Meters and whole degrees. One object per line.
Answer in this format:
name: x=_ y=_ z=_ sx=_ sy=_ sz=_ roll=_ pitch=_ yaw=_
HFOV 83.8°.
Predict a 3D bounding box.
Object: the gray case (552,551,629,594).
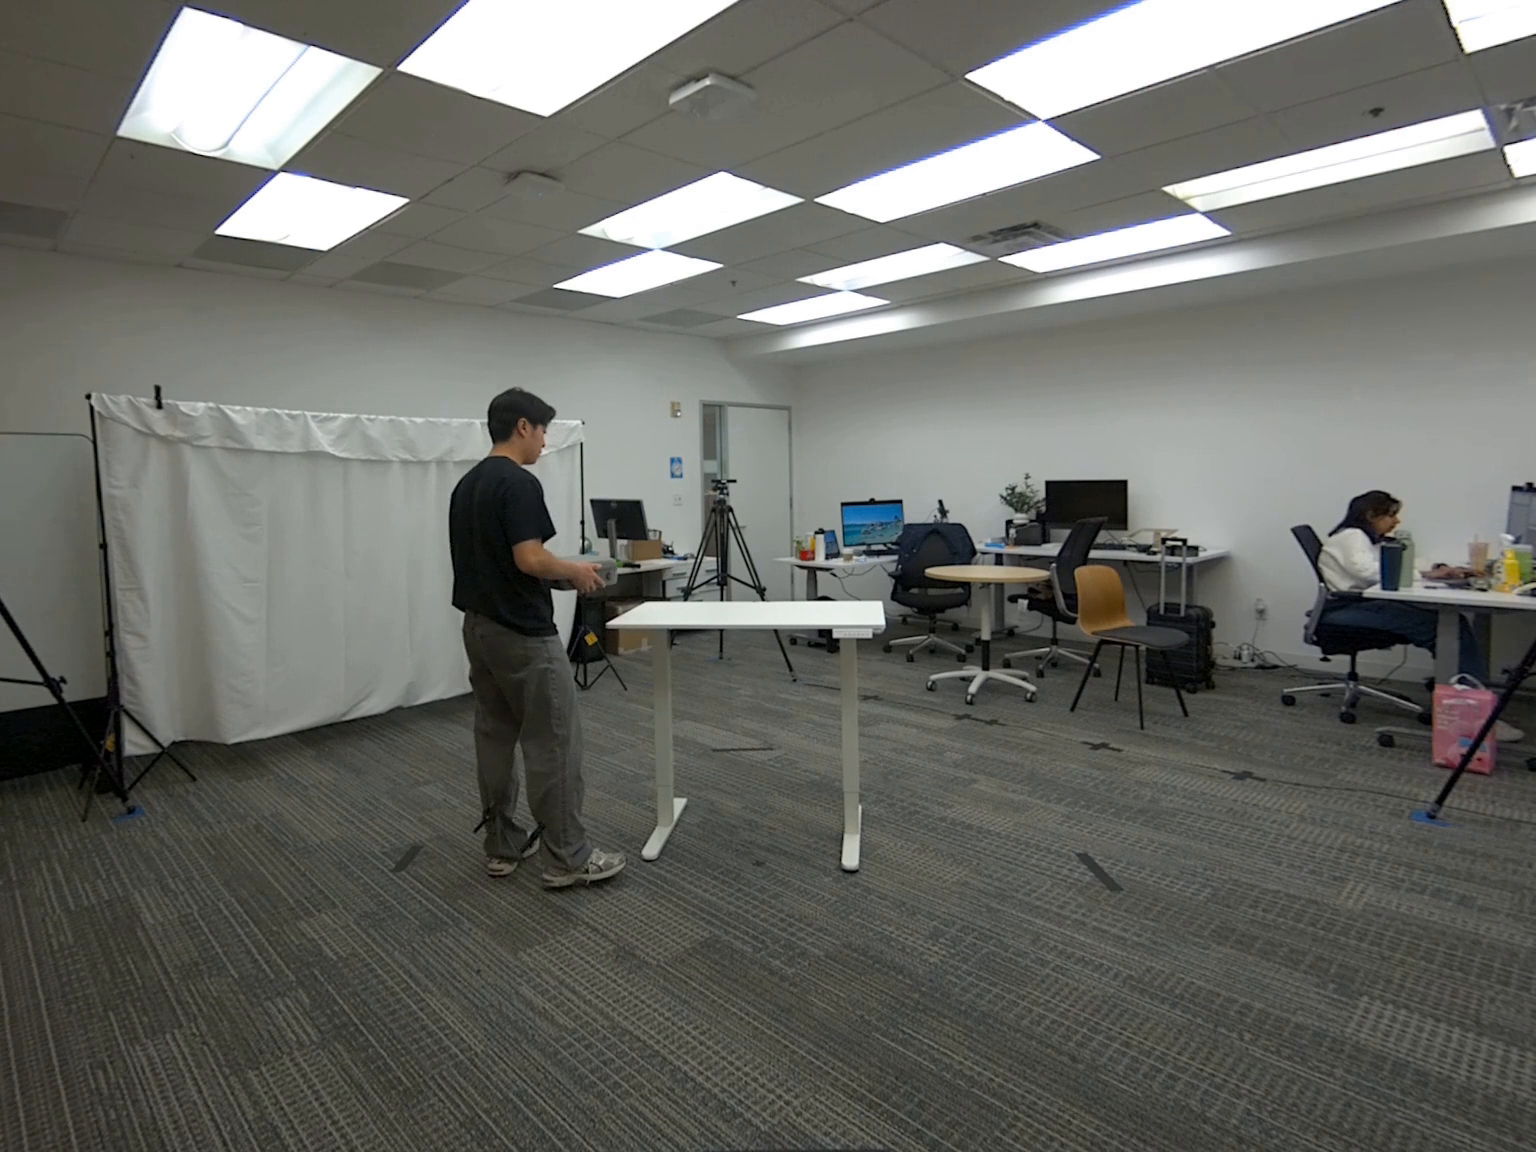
gray case: x=-0.725 y=-0.019 z=3.234 sx=0.296 sy=0.102 sz=0.257 roll=5 pitch=10 yaw=36
